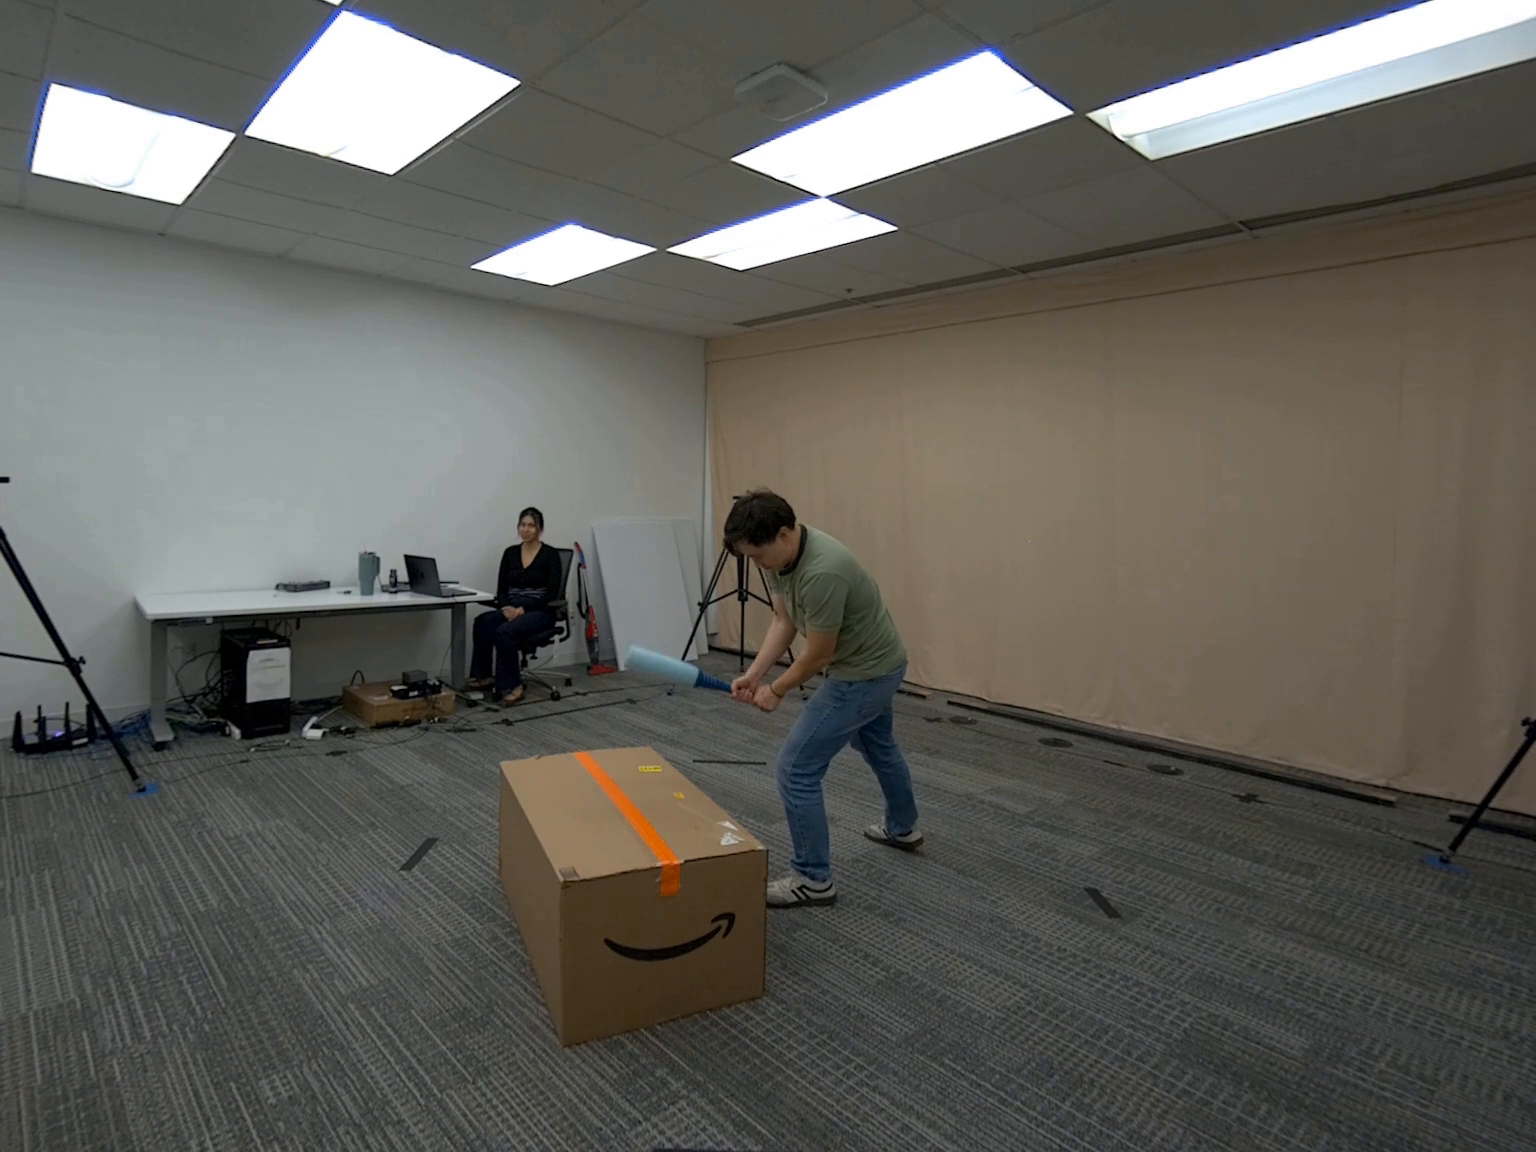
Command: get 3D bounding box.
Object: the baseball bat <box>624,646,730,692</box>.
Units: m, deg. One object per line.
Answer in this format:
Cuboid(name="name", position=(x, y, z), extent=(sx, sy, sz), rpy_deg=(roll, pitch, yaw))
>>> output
Cuboid(name="baseball bat", position=(-0.221, 0.347, 2.900), extent=(0.541, 0.089, 0.089), rpy_deg=(19, 3, -3))
